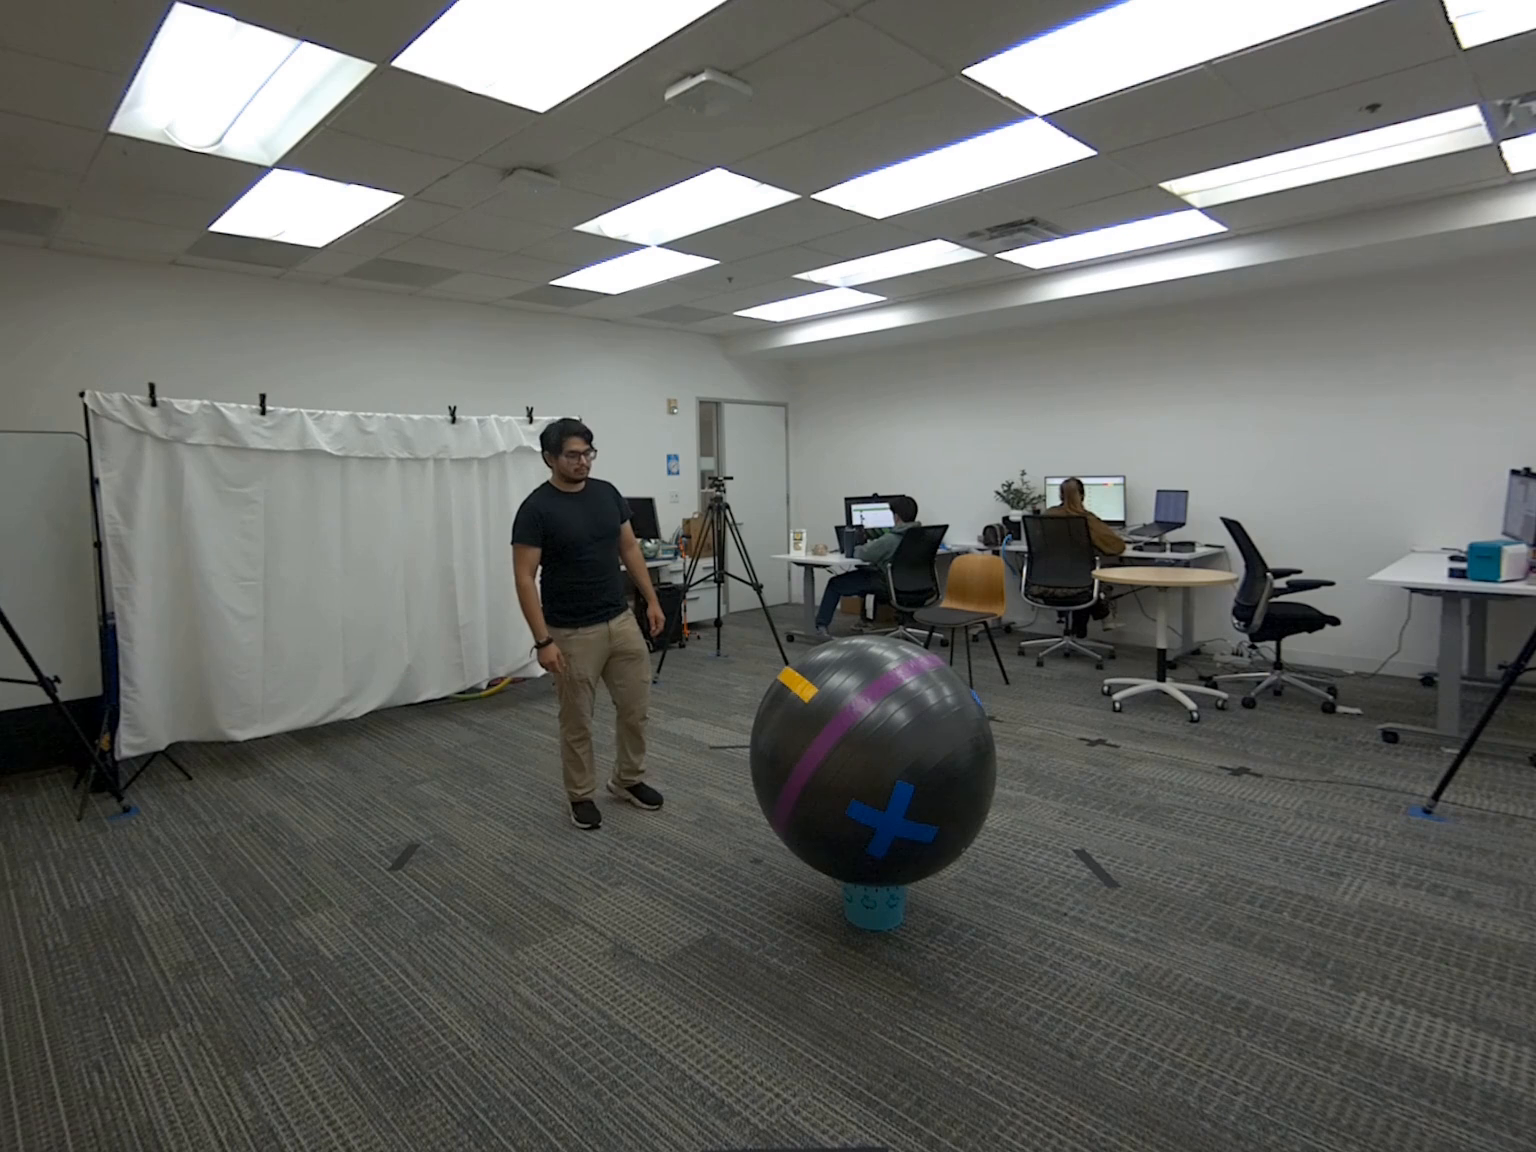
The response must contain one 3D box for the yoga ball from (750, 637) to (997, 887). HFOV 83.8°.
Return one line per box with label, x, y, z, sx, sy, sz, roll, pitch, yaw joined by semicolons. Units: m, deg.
yoga ball;0.321;0.570;2.676;0.757;0.755;0.762;-1;5;-2
